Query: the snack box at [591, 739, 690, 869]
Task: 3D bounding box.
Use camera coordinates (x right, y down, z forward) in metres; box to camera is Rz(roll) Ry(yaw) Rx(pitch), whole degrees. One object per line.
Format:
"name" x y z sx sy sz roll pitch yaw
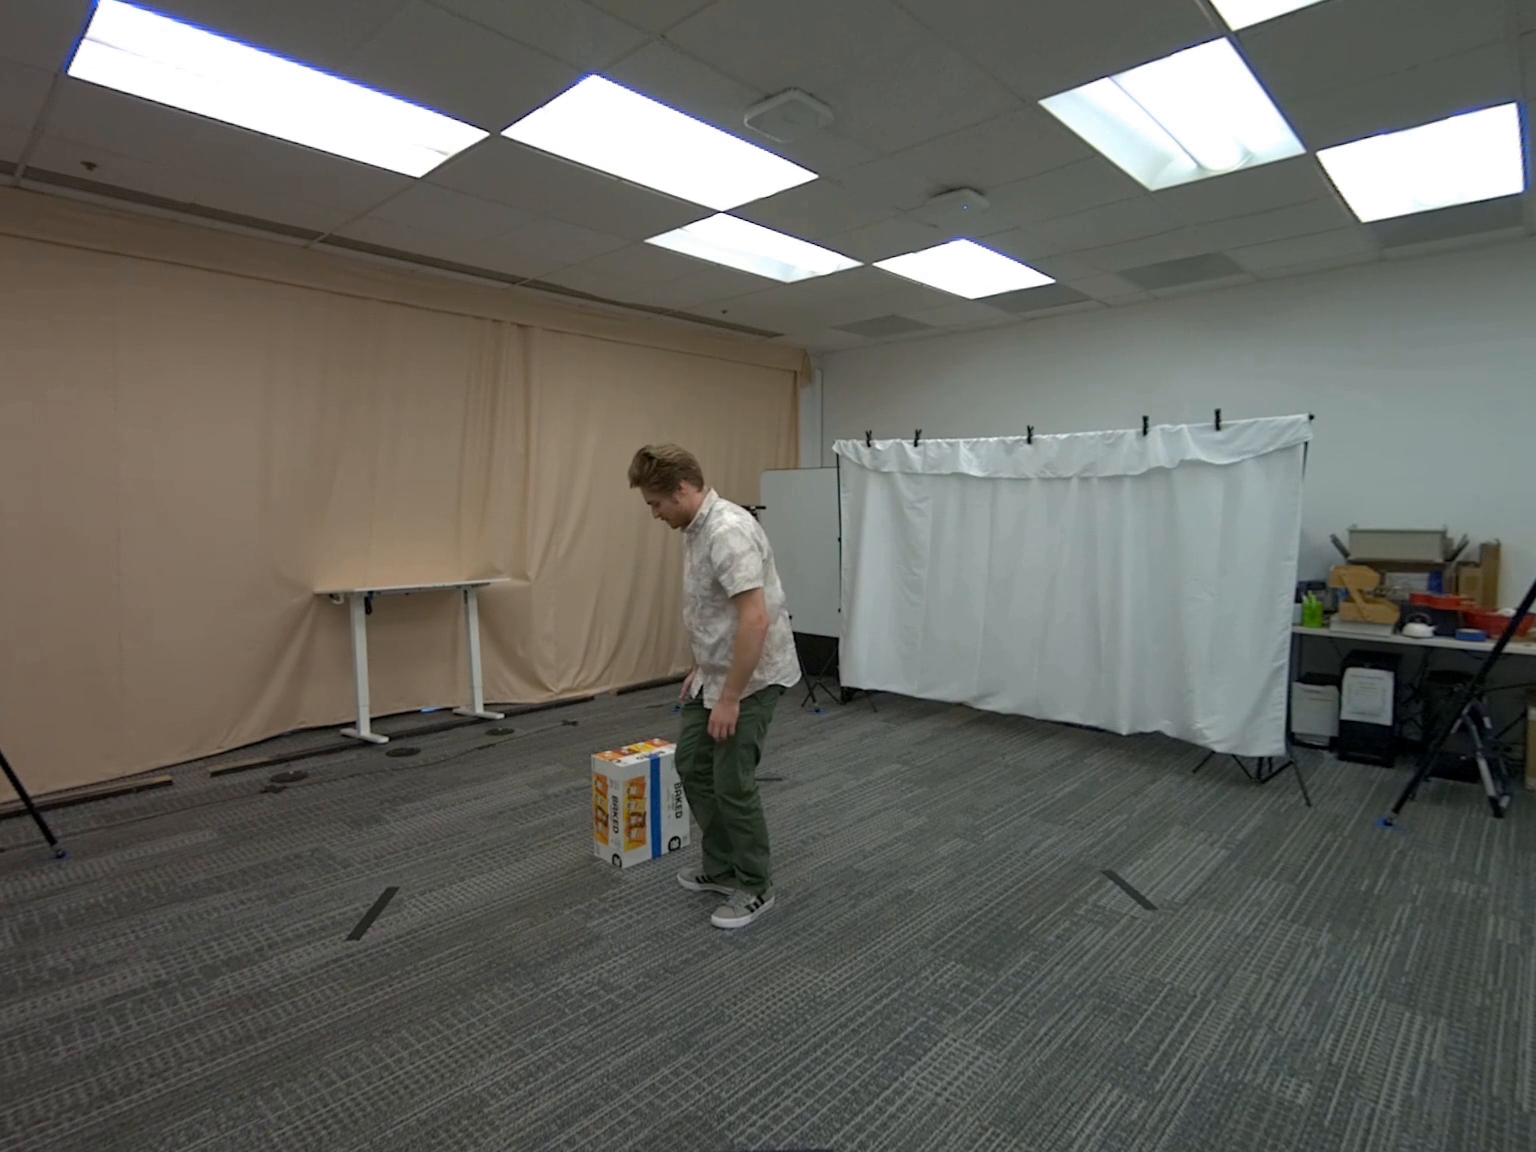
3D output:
"snack box" -0.515 0.911 3.408 0.330 0.404 0.212 -4 5 -44
